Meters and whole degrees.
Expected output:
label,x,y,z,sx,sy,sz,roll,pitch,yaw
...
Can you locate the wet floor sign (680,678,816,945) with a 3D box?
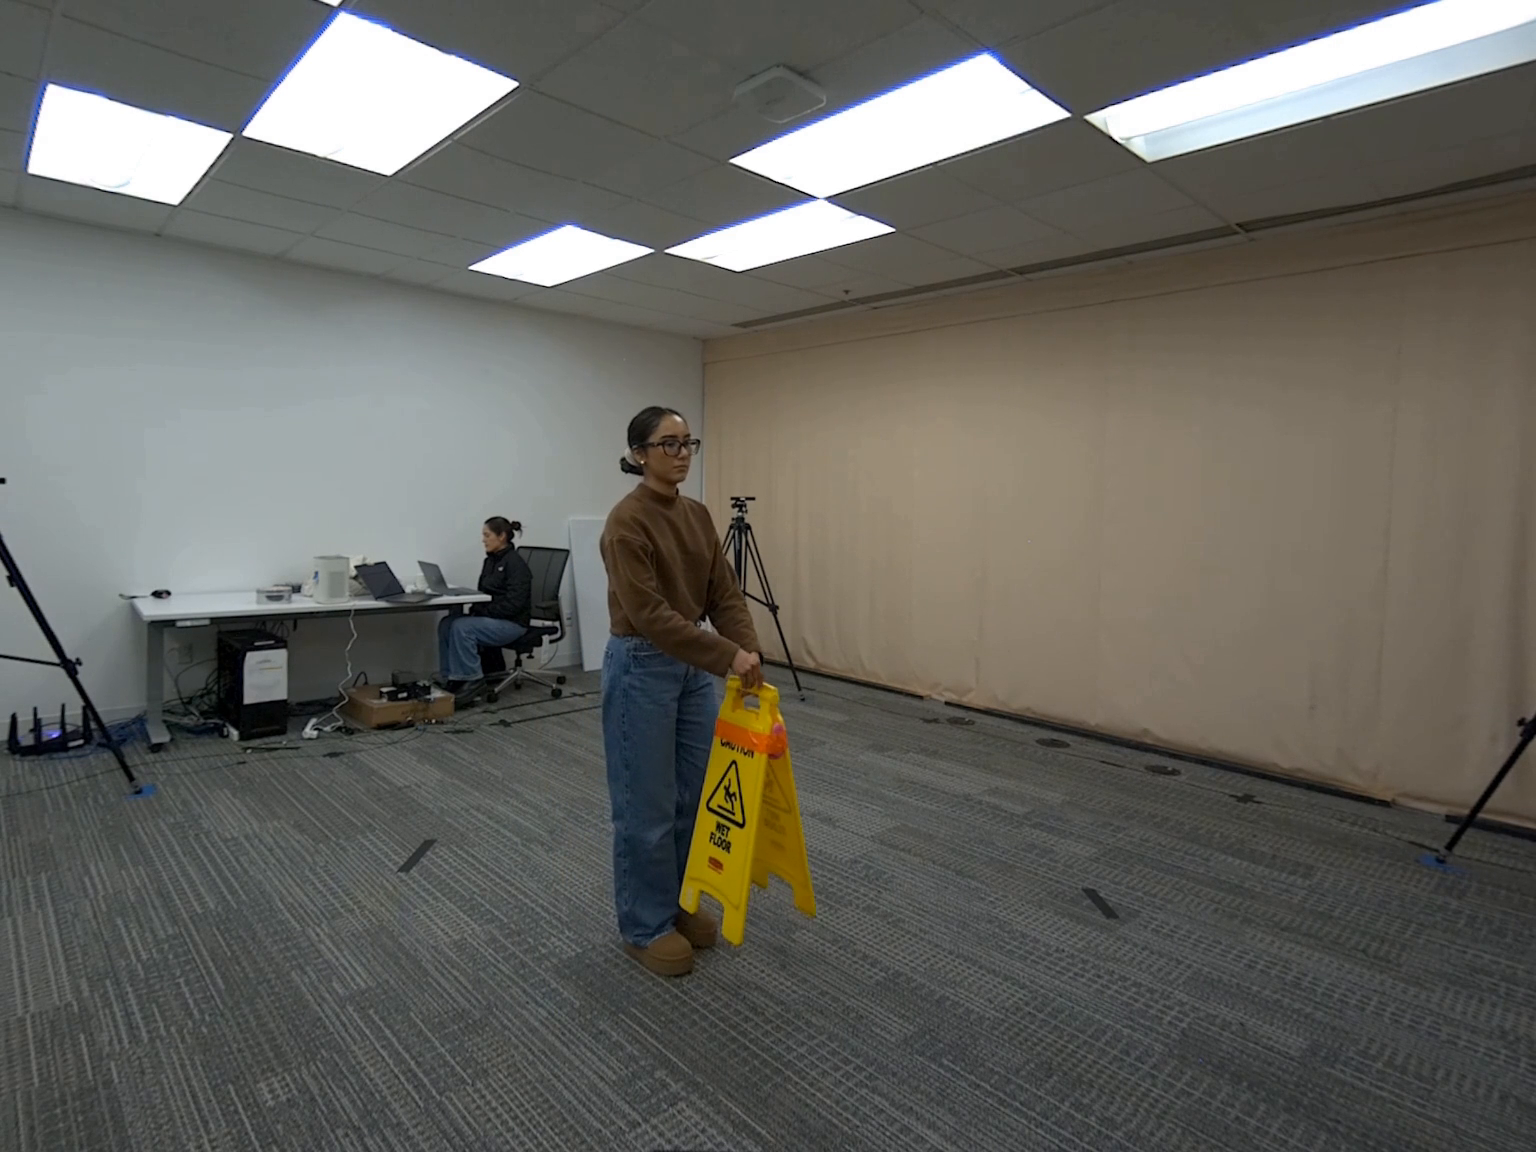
label,x,y,z,sx,sy,sz,roll,pitch,yaw
wet floor sign,-0.053,0.616,2.322,0.283,0.645,0.289,0,4,-39
